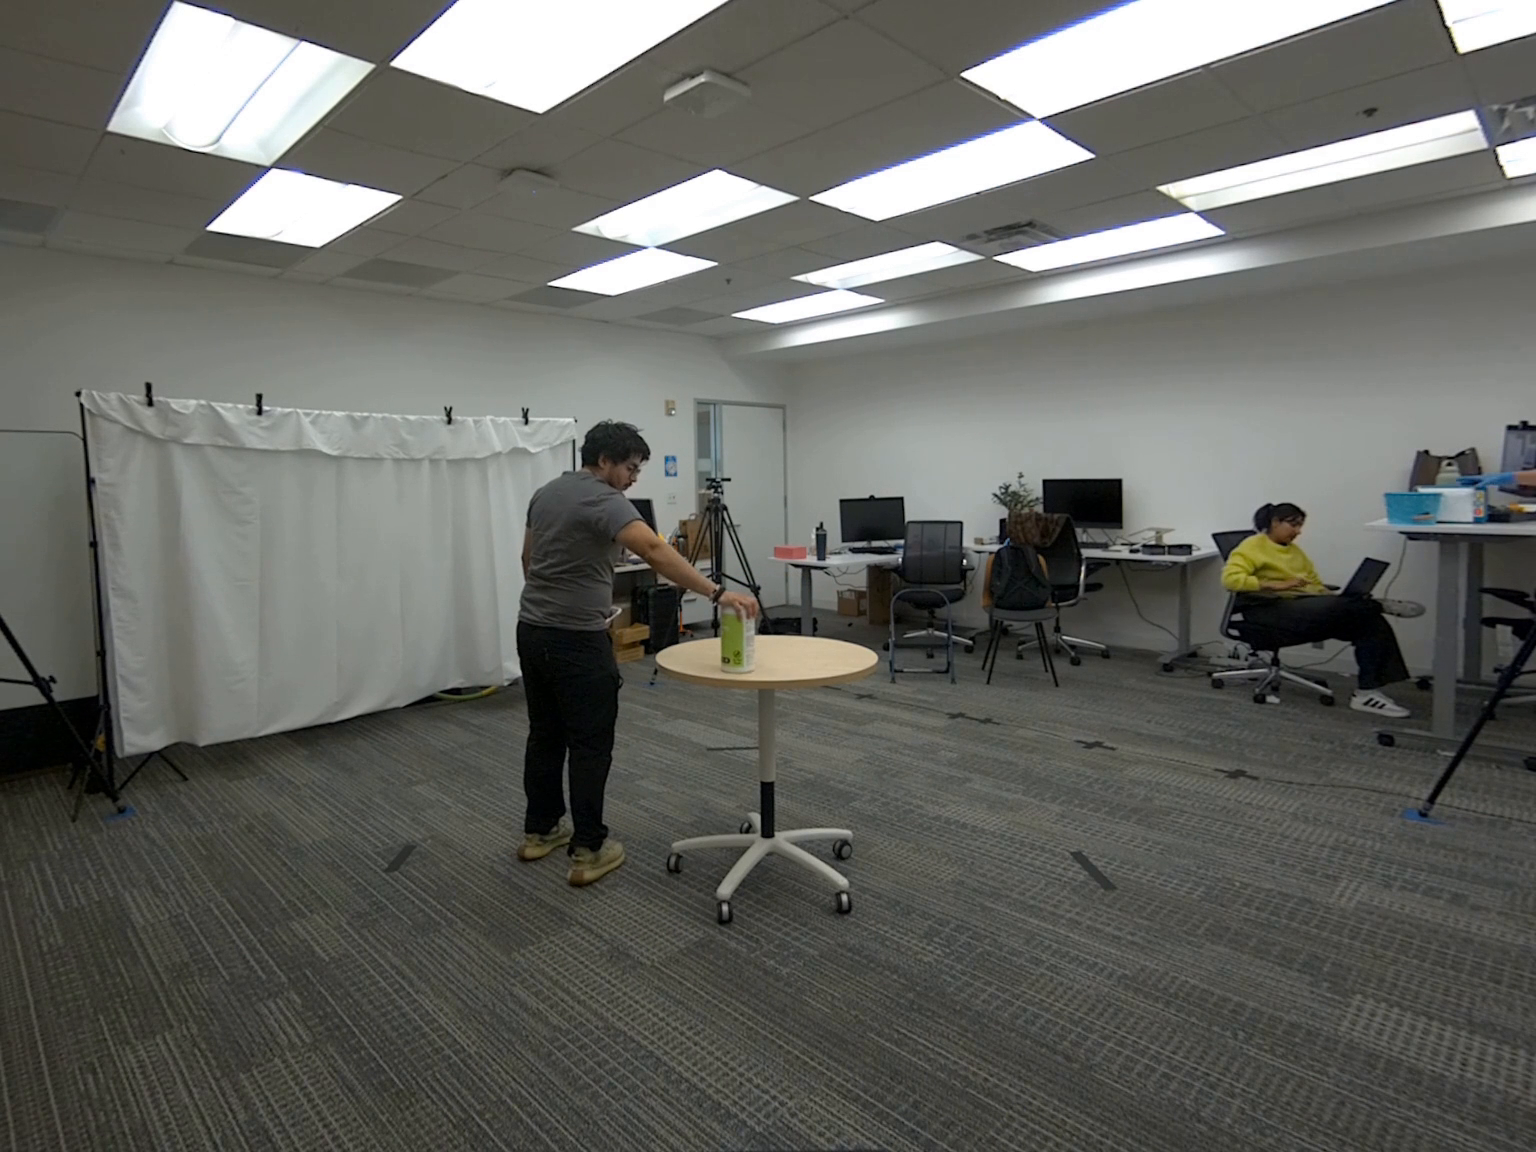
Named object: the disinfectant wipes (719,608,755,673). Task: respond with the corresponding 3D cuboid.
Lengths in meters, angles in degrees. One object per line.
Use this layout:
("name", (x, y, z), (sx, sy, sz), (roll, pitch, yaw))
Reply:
("disinfectant wipes", (-0.093, 0.192, 2.748), (0.118, 0.217, 0.118), (-1, 2, -2))
